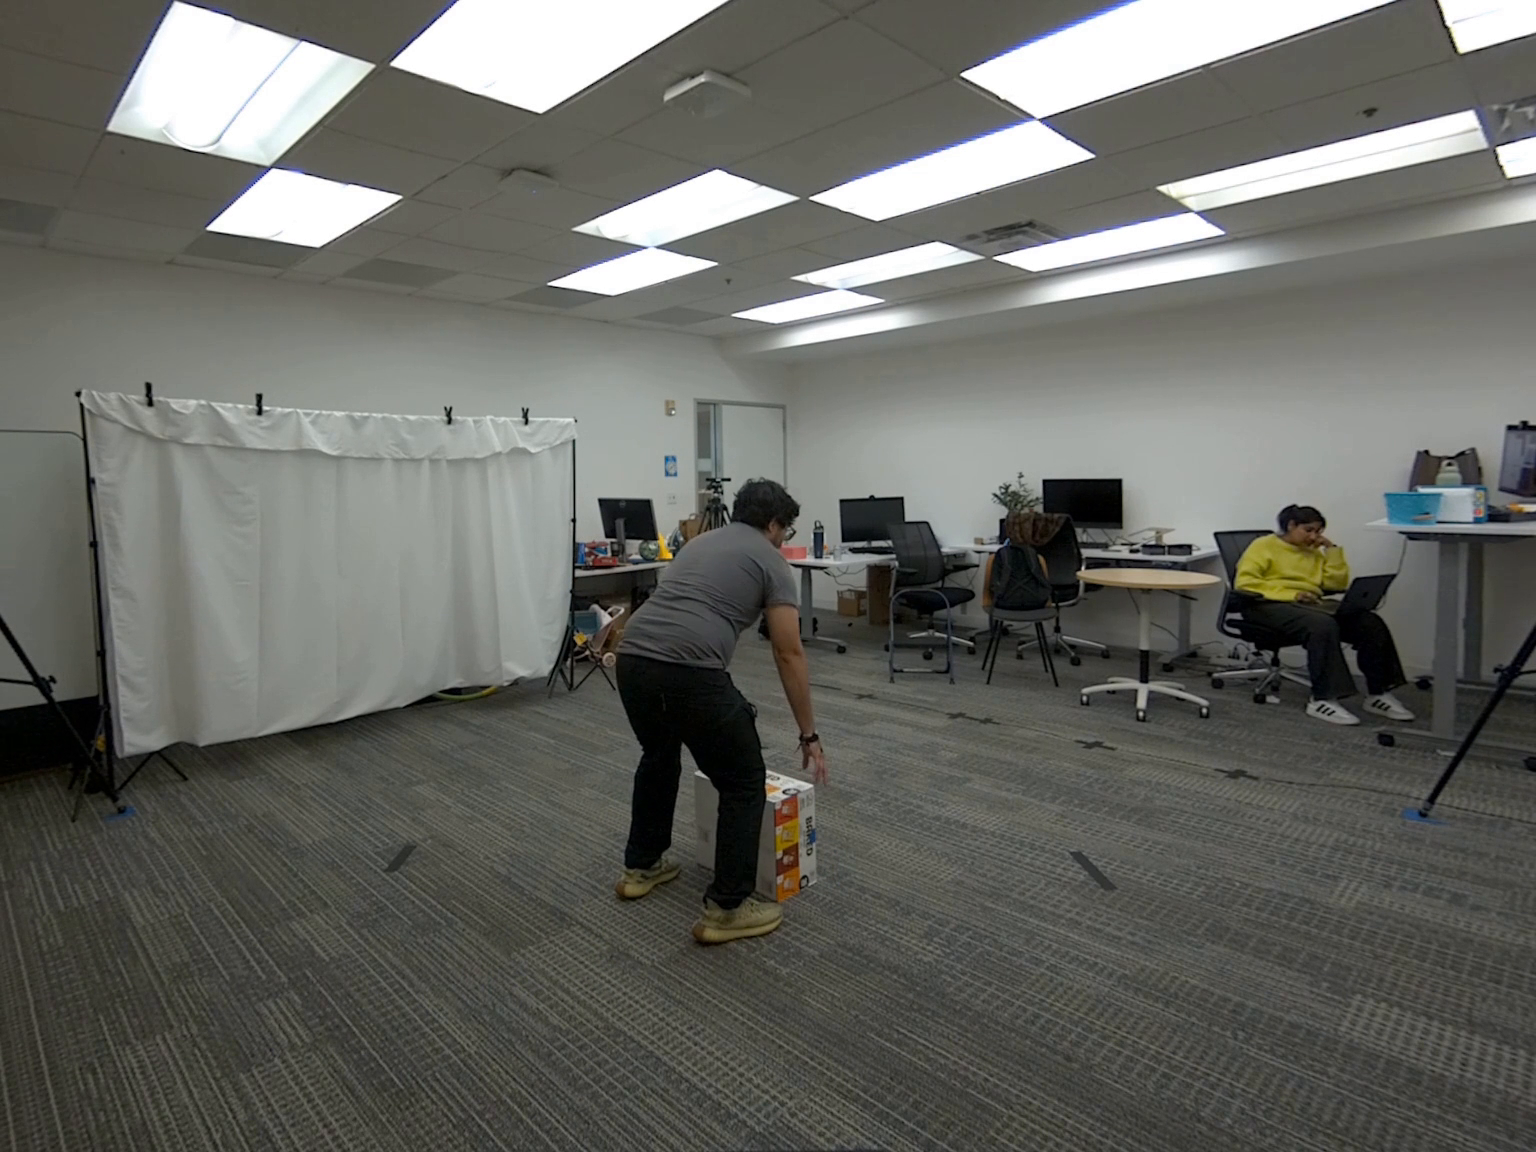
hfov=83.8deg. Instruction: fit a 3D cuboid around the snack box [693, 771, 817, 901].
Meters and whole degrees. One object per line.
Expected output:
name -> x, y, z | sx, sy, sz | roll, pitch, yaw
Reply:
snack box -> -0.049, 0.881, 3.015 | 0.417, 0.339, 0.200 | 4, 7, 45
